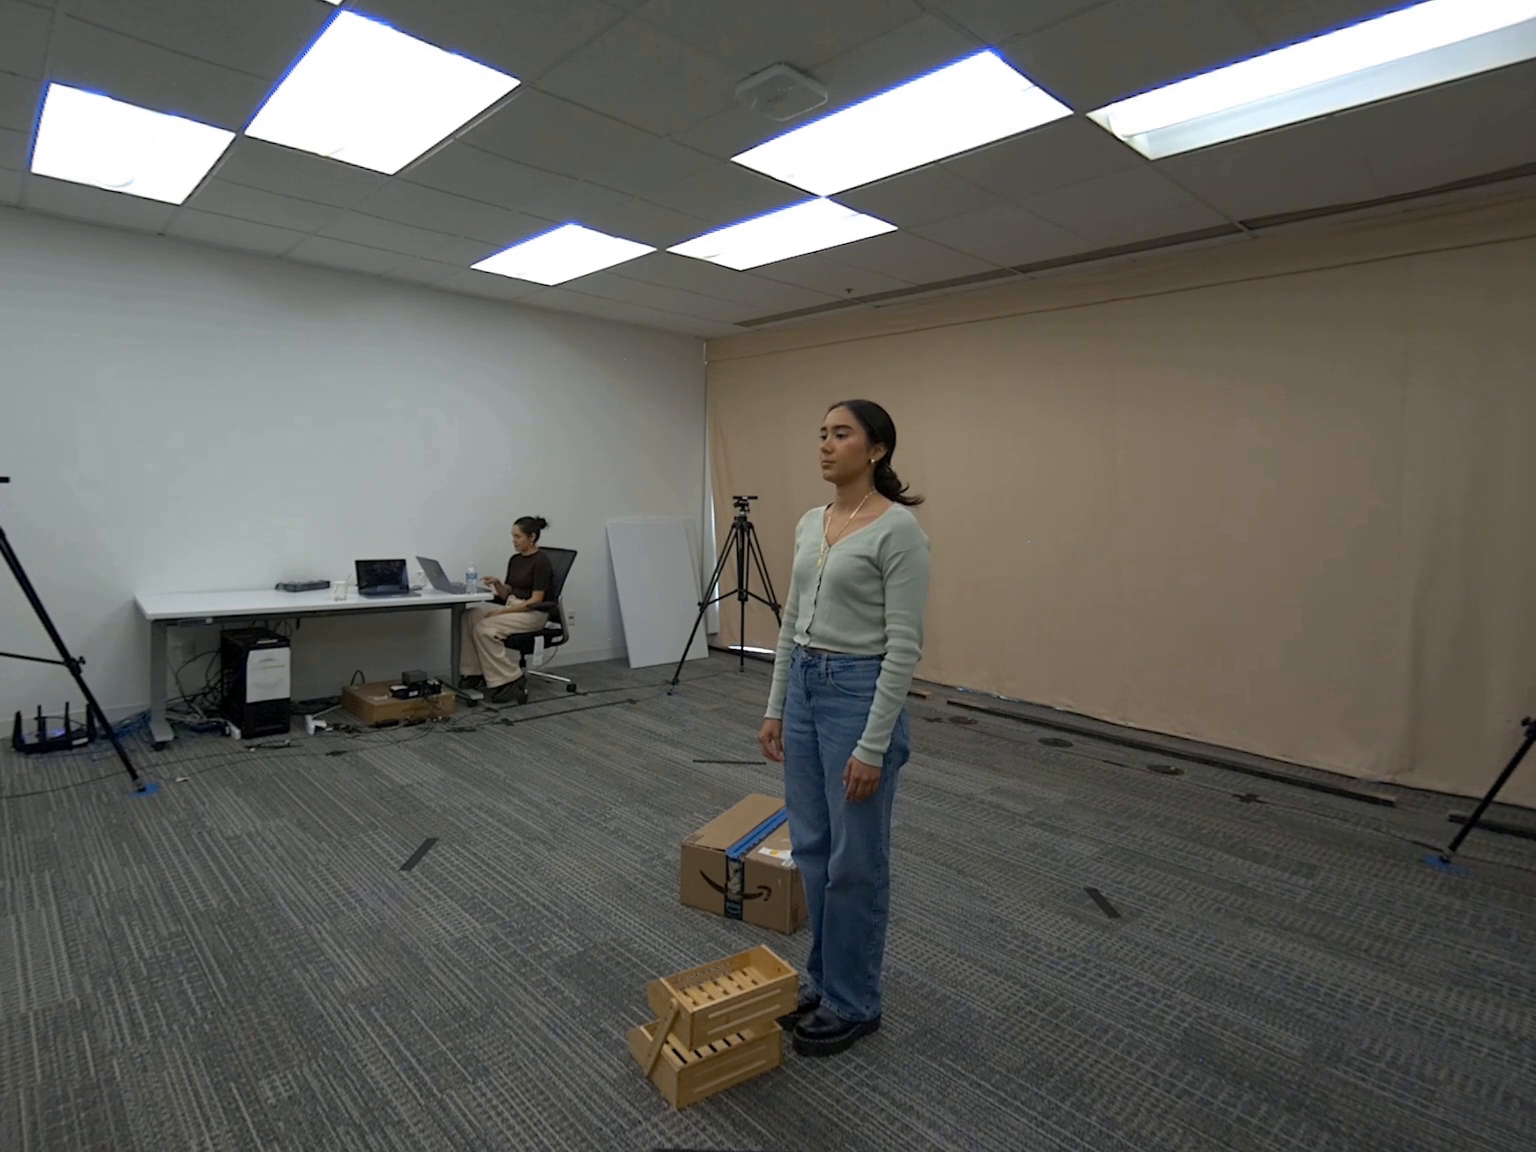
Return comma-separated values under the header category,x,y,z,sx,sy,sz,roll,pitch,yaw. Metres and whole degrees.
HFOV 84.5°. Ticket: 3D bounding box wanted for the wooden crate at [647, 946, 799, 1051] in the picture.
category,x,y,z,sx,sy,sz,roll,pitch,yaw
wooden crate,-0.140,1.060,2.067,0.317,0.272,0.310,-1,6,-35
